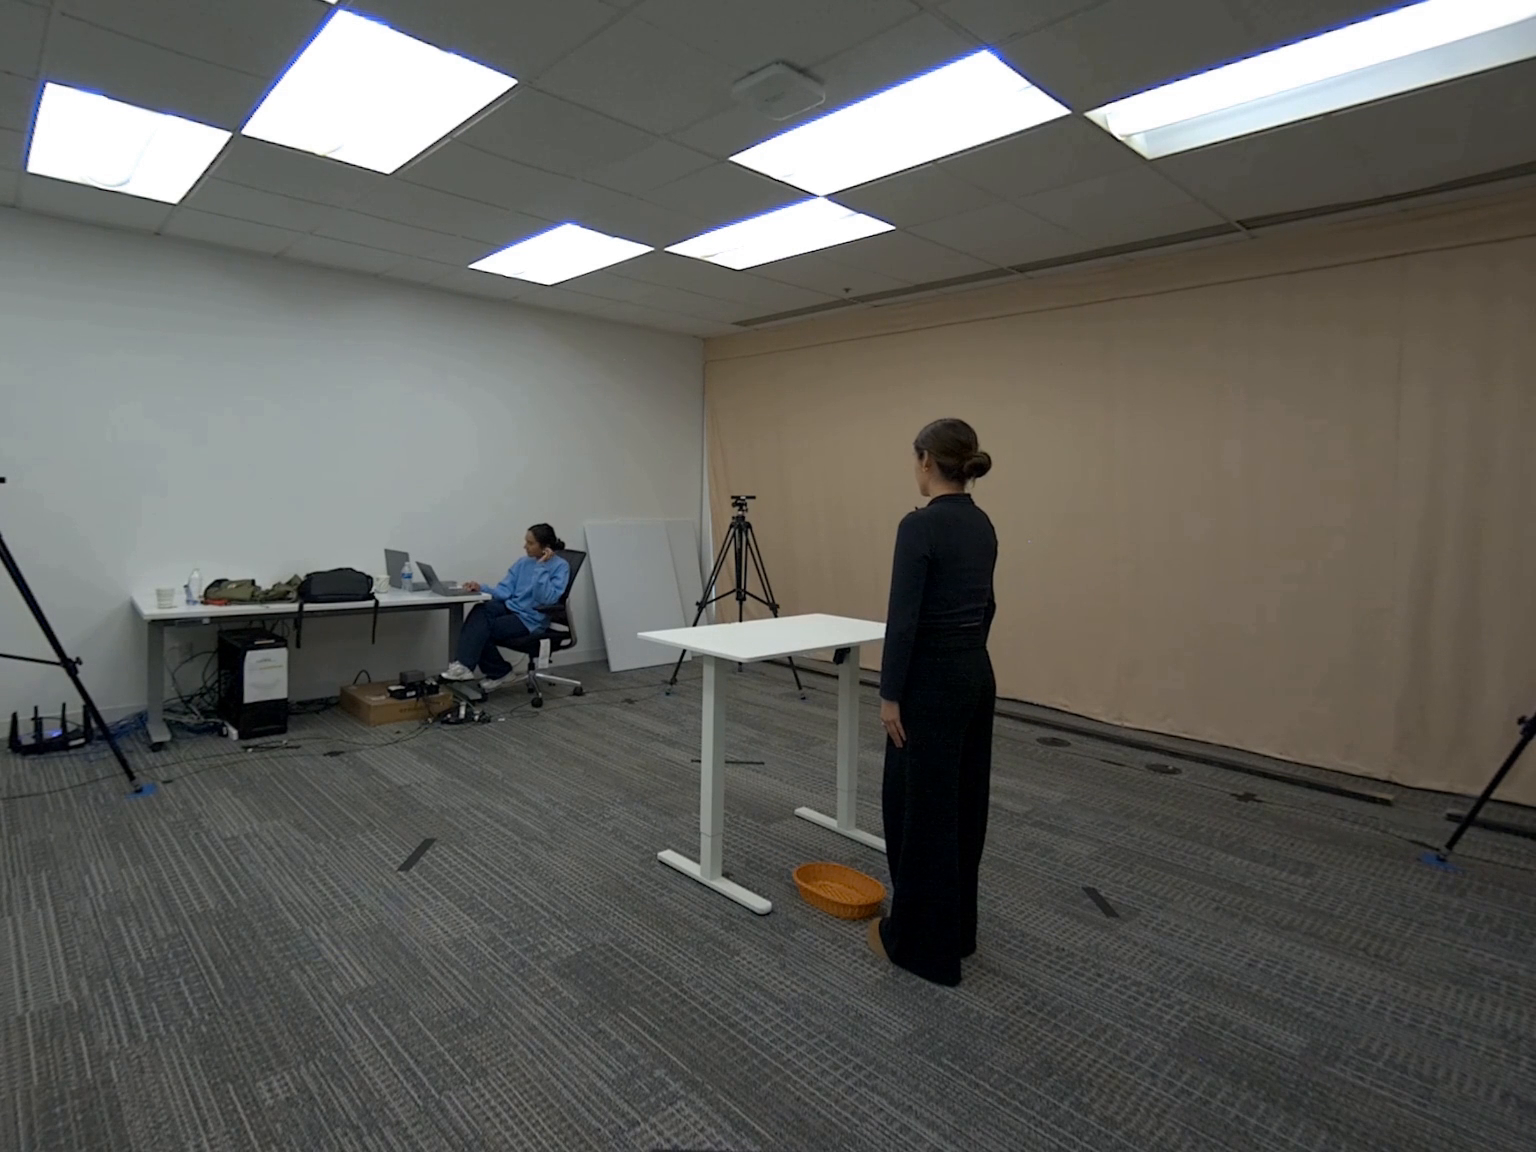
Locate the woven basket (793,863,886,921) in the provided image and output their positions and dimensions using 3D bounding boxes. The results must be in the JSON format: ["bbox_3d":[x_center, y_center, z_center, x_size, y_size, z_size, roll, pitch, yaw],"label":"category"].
[{"bbox_3d":[0.233,1.089,2.913,0.246,0.073,0.359,-3,7,-43],"label":"woven basket"}]
